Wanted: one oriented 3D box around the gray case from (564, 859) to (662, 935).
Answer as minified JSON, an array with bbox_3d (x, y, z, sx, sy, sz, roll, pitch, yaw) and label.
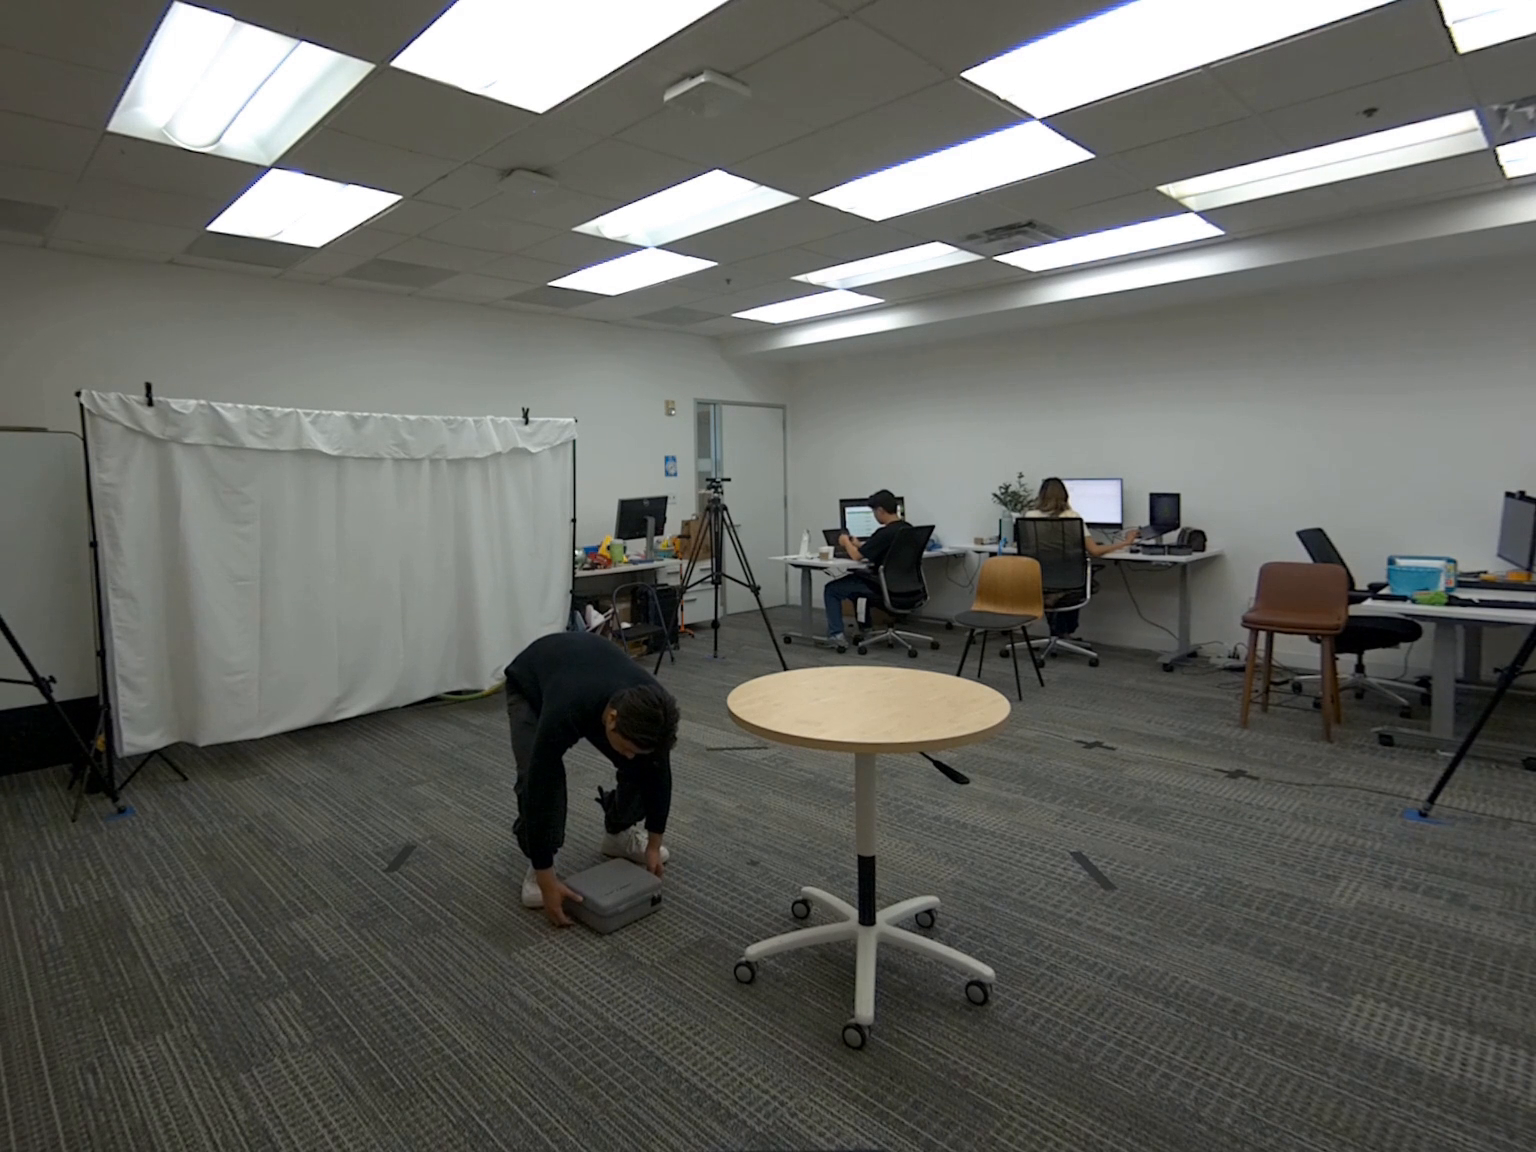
[{"bbox_3d":[-0.515,1.032,2.783,0.269,0.104,0.251,4,10,43],"label":"gray case"}]
